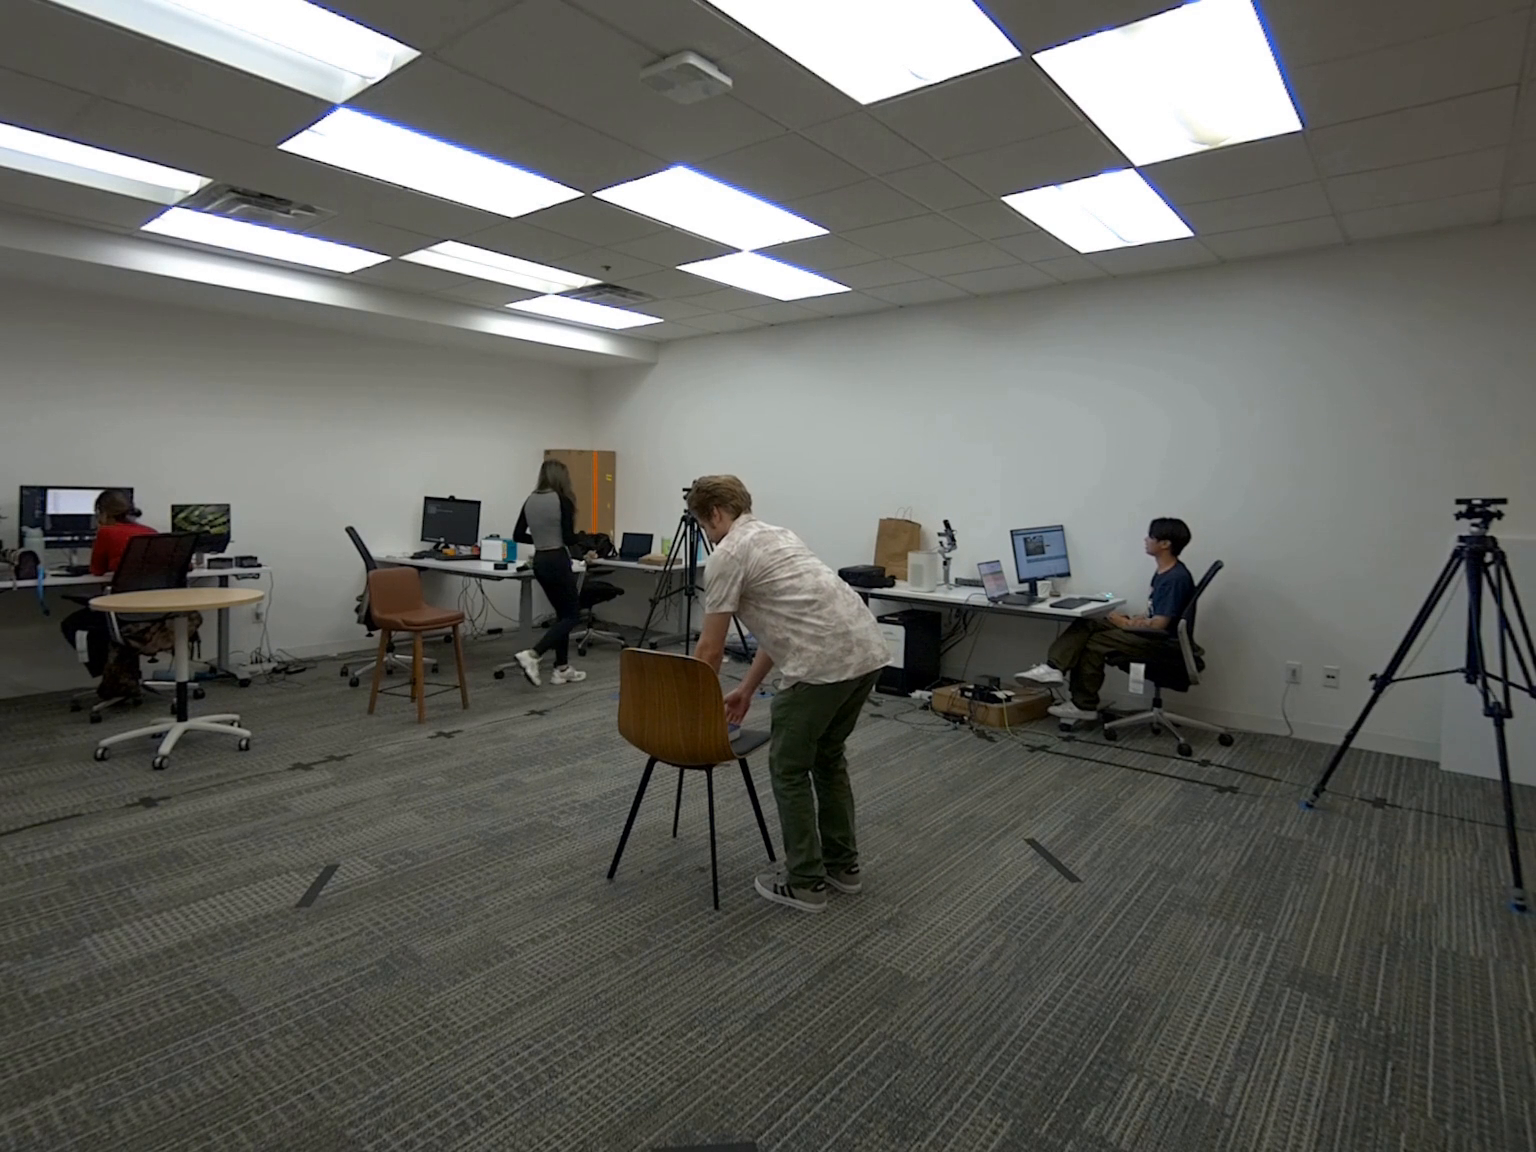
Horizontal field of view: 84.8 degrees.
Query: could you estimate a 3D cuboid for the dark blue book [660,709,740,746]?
[{"bbox_3d":[-0.253,0.557,3.118,0.253,0.045,0.159,6,10,37],"label":"dark blue book"}]
